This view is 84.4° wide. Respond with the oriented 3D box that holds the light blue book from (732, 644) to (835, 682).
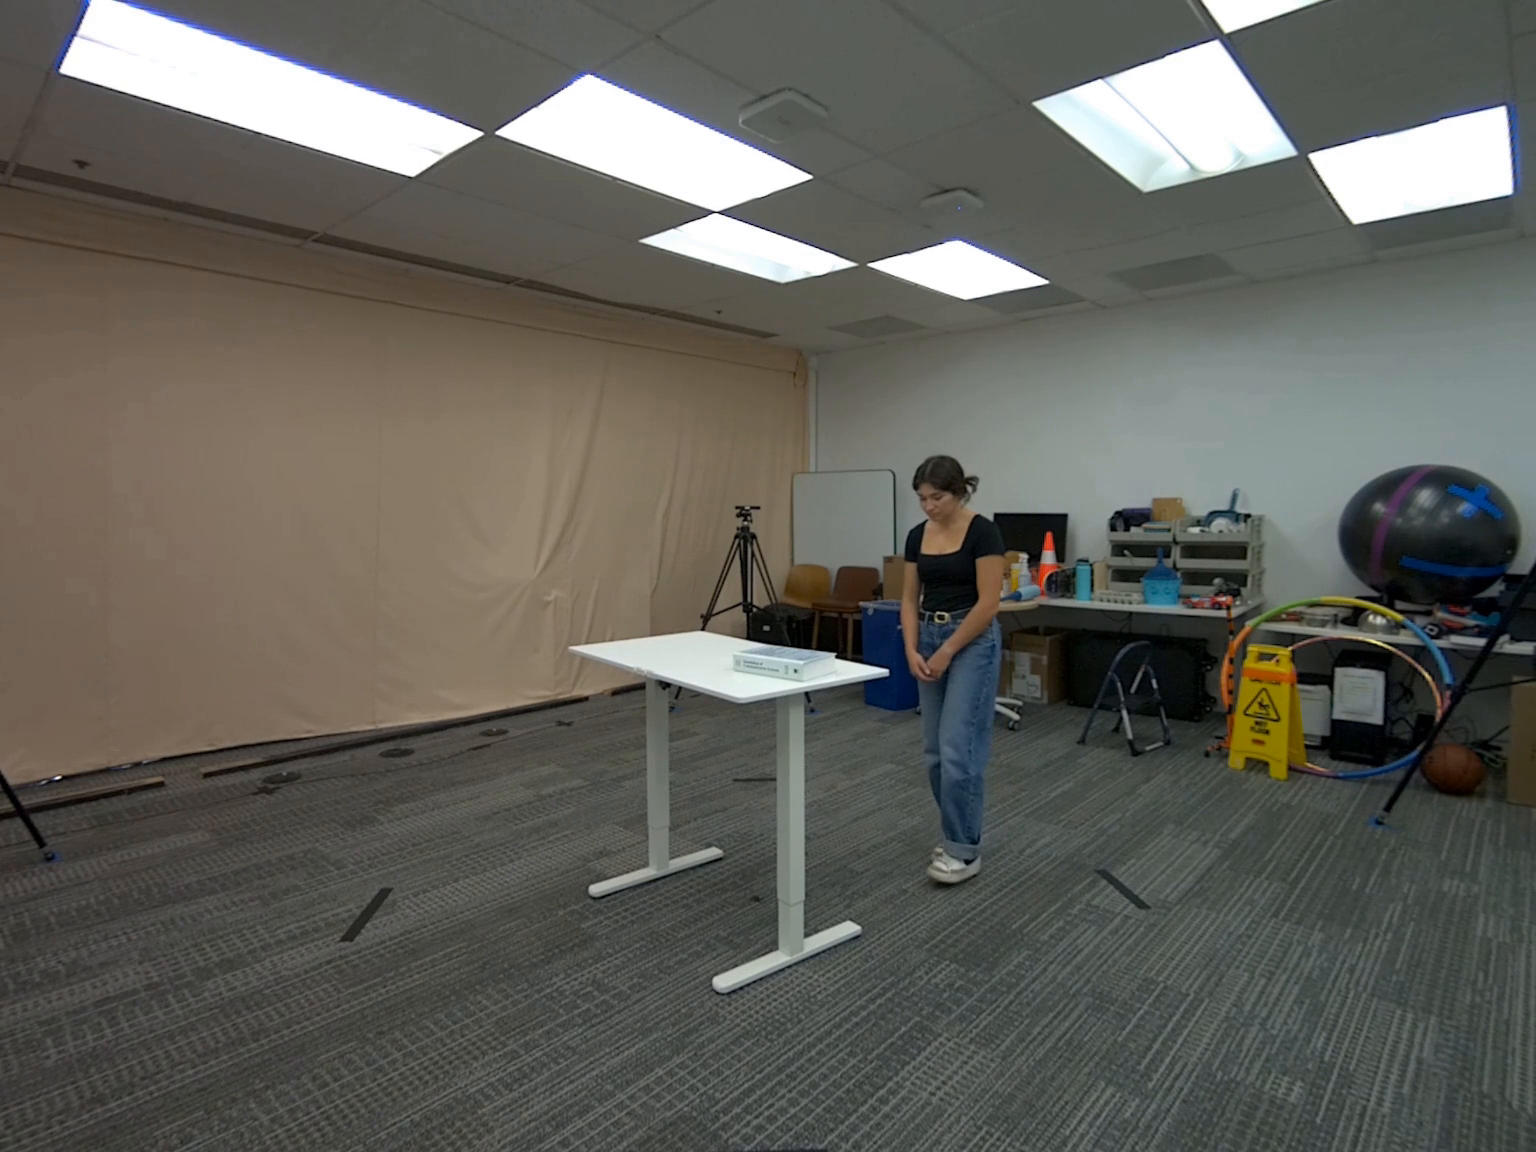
[{"bbox_3d":[0.053,0.270,2.593,0.269,0.059,0.186,4,7,38],"label":"light blue book"}]
